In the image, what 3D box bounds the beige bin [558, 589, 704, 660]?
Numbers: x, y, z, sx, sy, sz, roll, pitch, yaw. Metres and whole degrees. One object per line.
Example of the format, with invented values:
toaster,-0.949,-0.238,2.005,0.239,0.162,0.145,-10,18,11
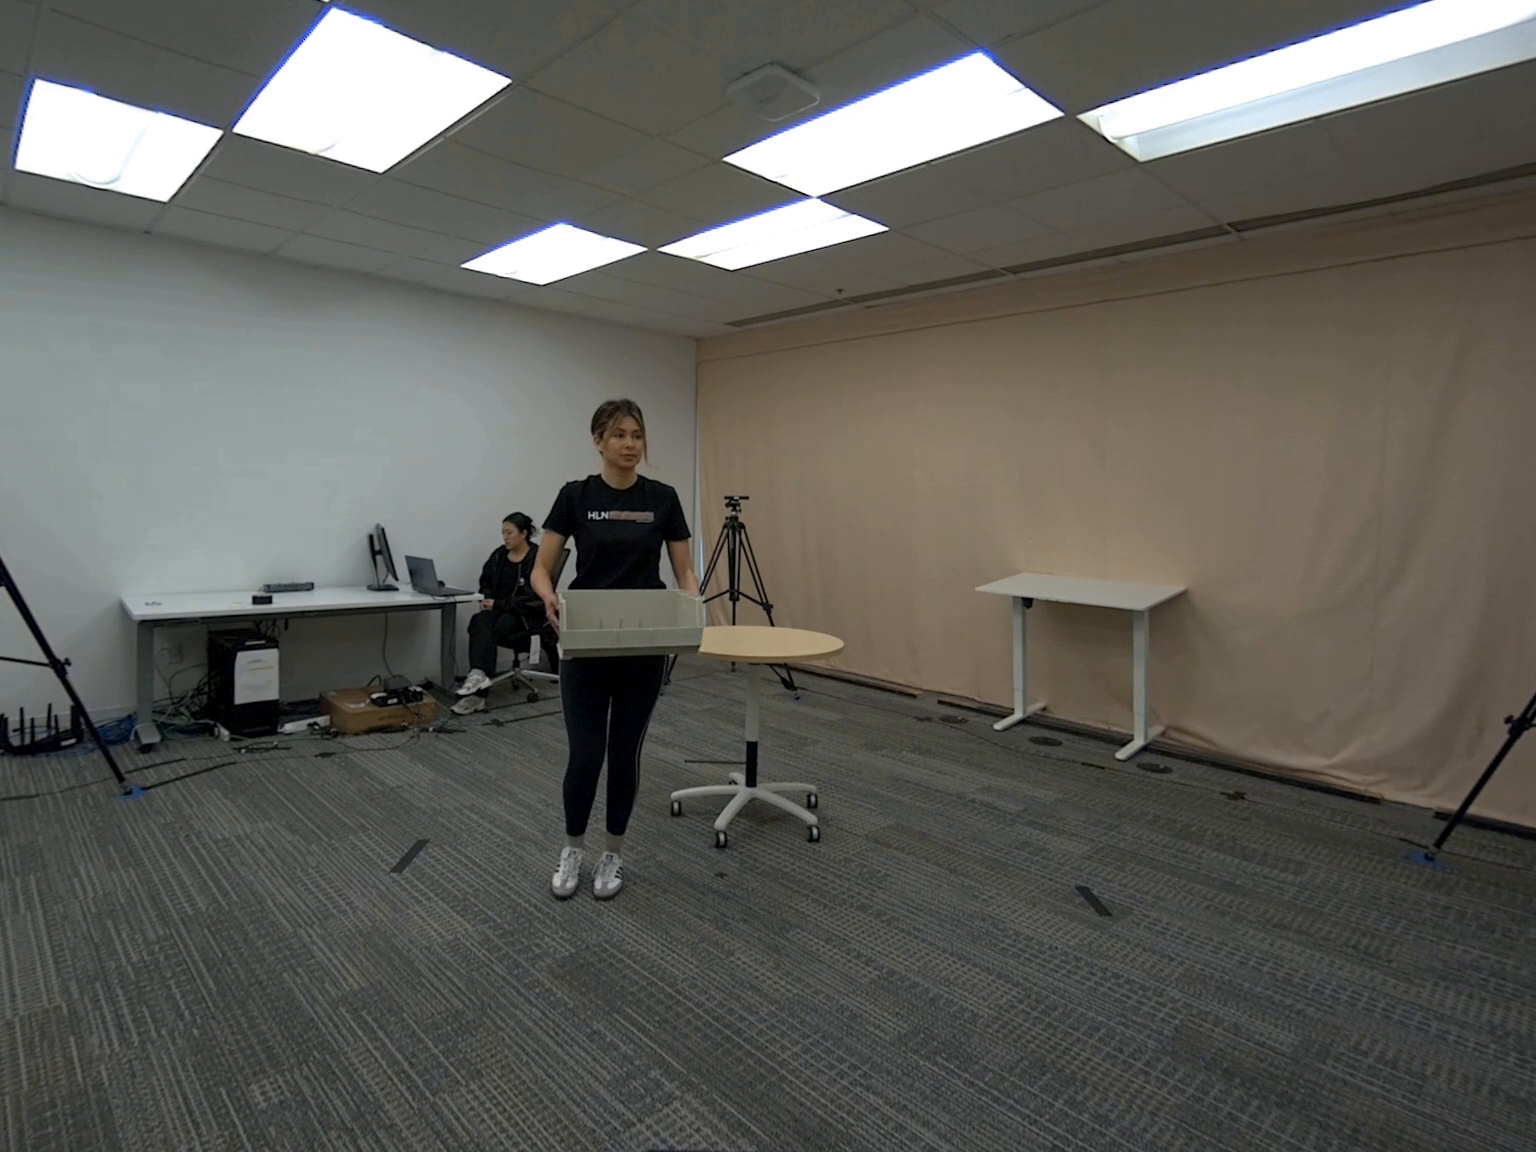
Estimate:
beige bin,-0.446,0.153,2.605,0.417,0.189,0.382,0,1,-15
